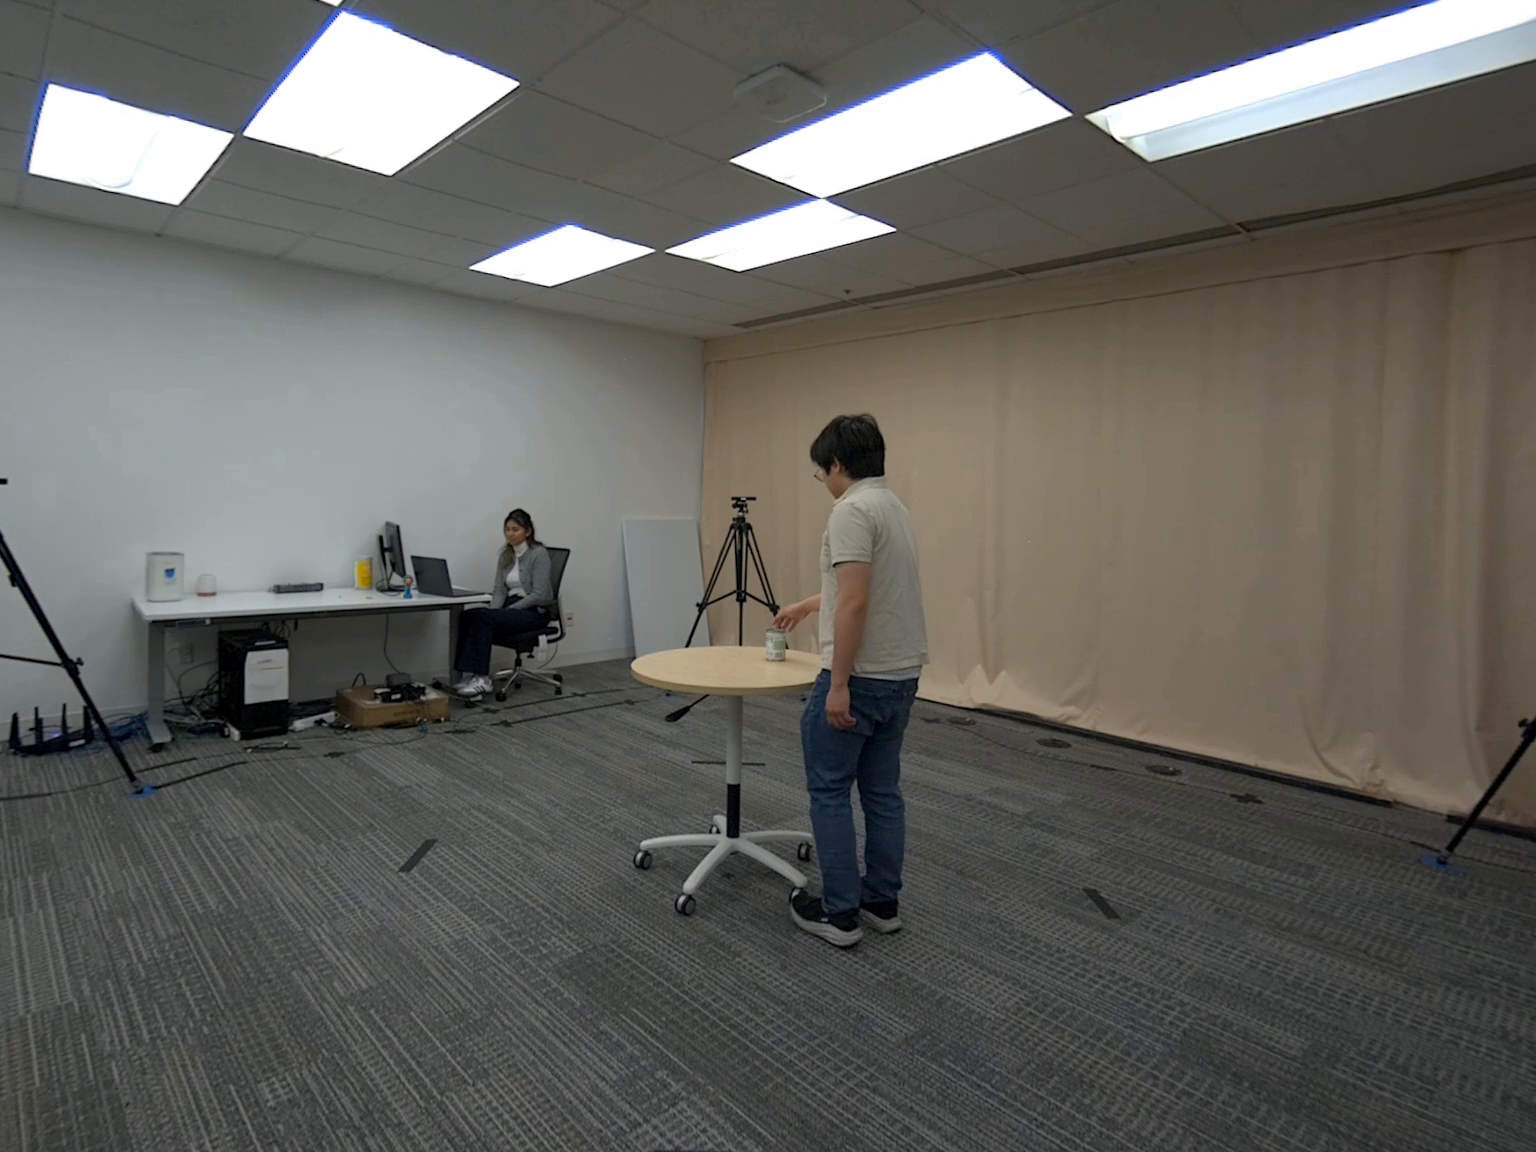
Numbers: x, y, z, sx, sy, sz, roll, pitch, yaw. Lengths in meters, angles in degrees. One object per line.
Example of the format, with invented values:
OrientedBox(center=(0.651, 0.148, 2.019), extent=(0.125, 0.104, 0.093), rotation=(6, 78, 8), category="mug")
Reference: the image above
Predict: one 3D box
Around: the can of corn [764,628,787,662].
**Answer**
OrientedBox(center=(0.025, 0.263, 3.177), extent=(0.074, 0.111, 0.074), rotation=(2, 5, -2), category="can of corn")
